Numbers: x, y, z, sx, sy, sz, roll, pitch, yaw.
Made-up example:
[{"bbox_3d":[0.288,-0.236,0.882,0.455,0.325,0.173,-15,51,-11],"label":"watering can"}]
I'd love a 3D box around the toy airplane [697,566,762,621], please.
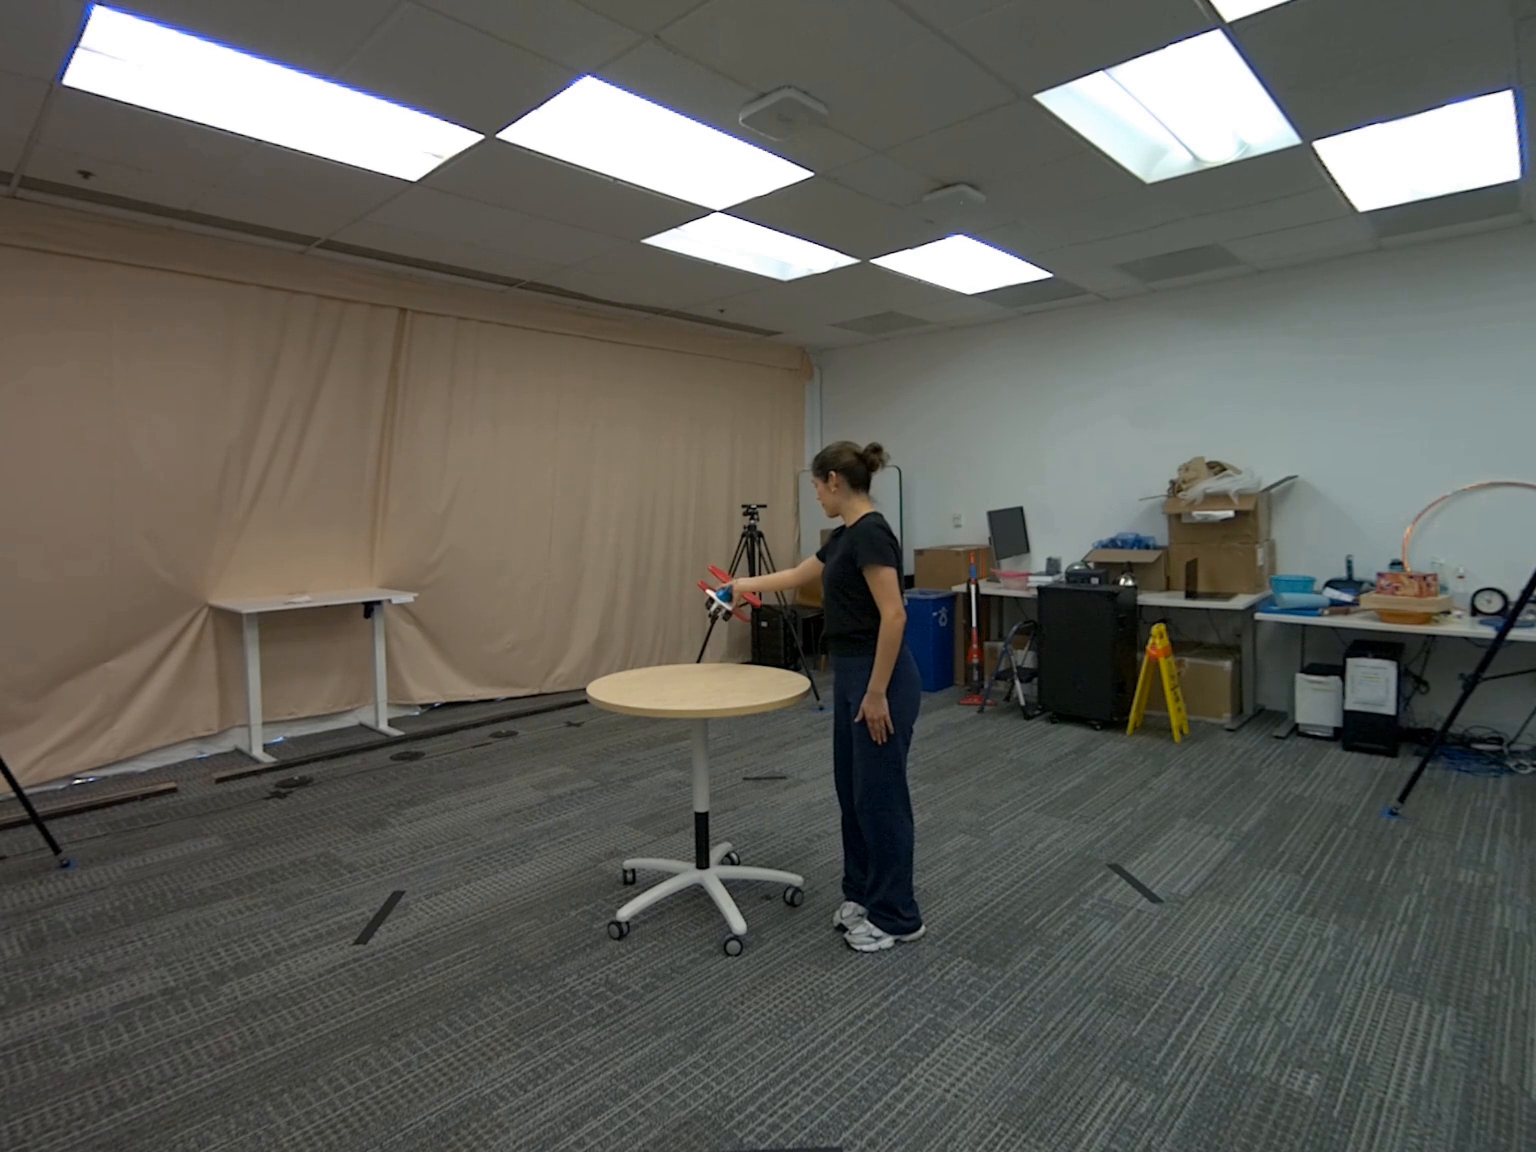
[{"bbox_3d":[-0.134,0.096,3.281,0.245,0.156,0.265,38,-3,-21],"label":"toy airplane"}]
